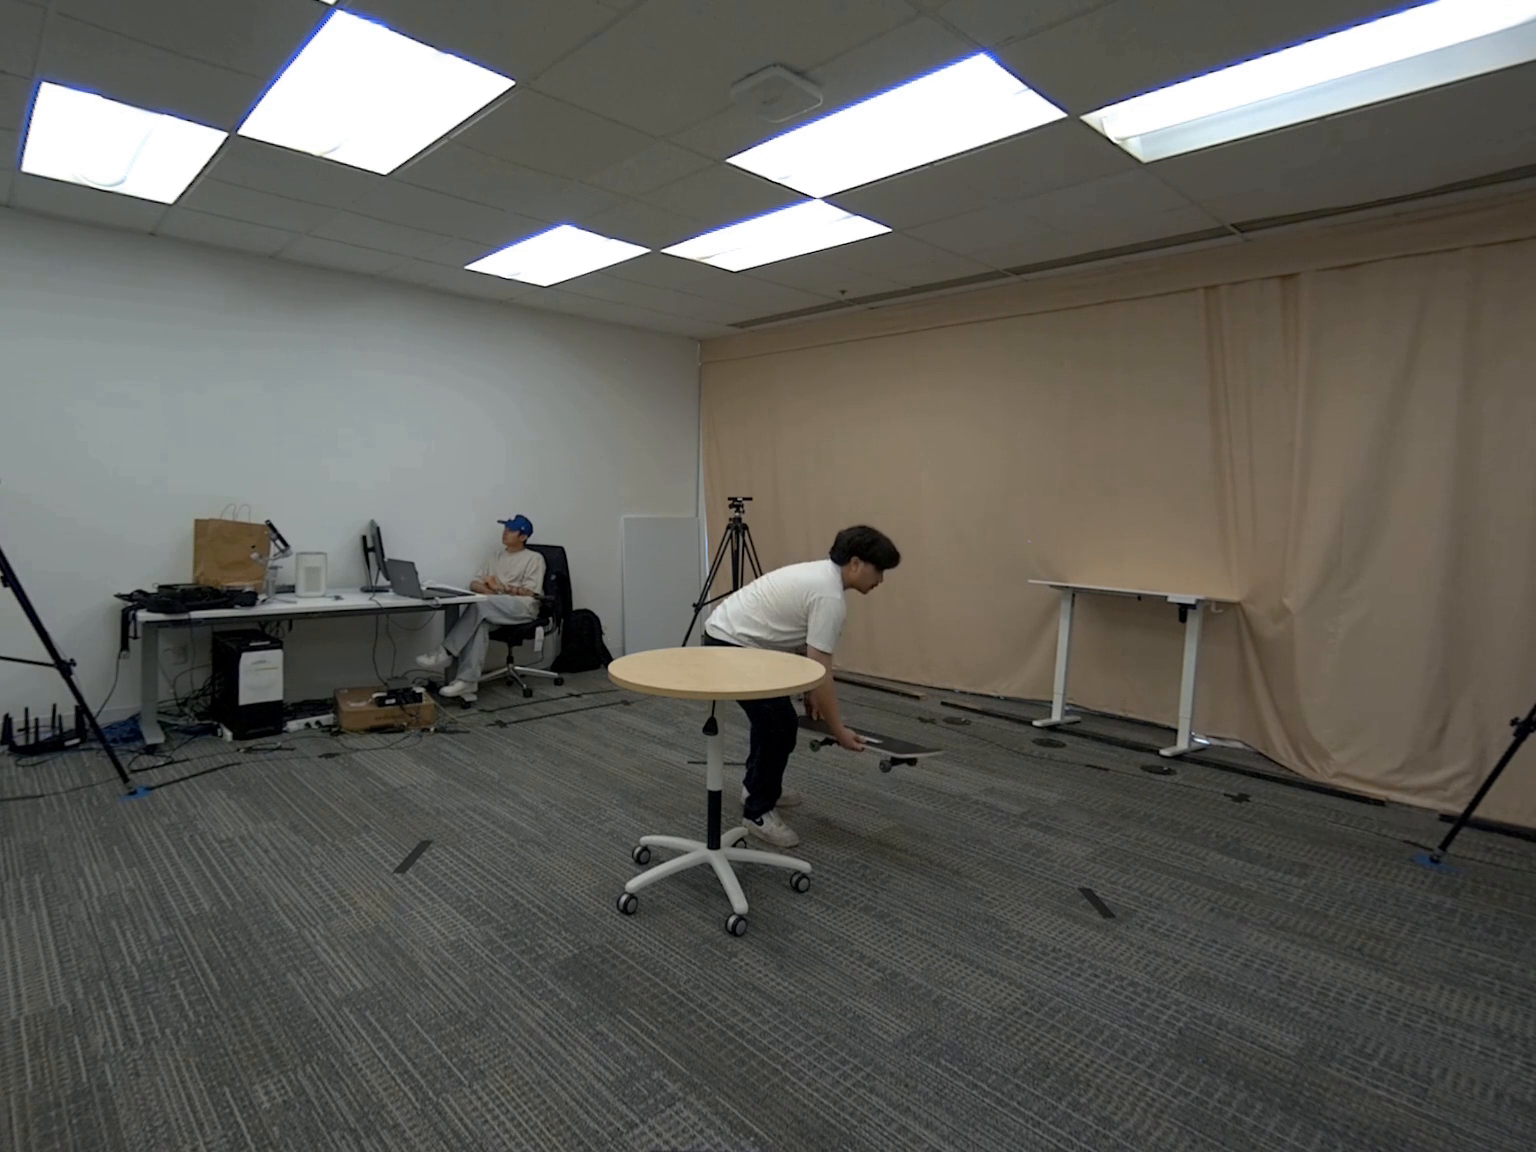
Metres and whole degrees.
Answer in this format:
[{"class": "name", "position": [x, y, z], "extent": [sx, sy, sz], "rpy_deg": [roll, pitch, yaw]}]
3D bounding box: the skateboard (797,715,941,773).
[{"class": "skateboard", "position": [0.377, 0.702, 3.487], "extent": [0.189, 0.110, 0.804], "rpy_deg": [-1, 3, -39]}]
